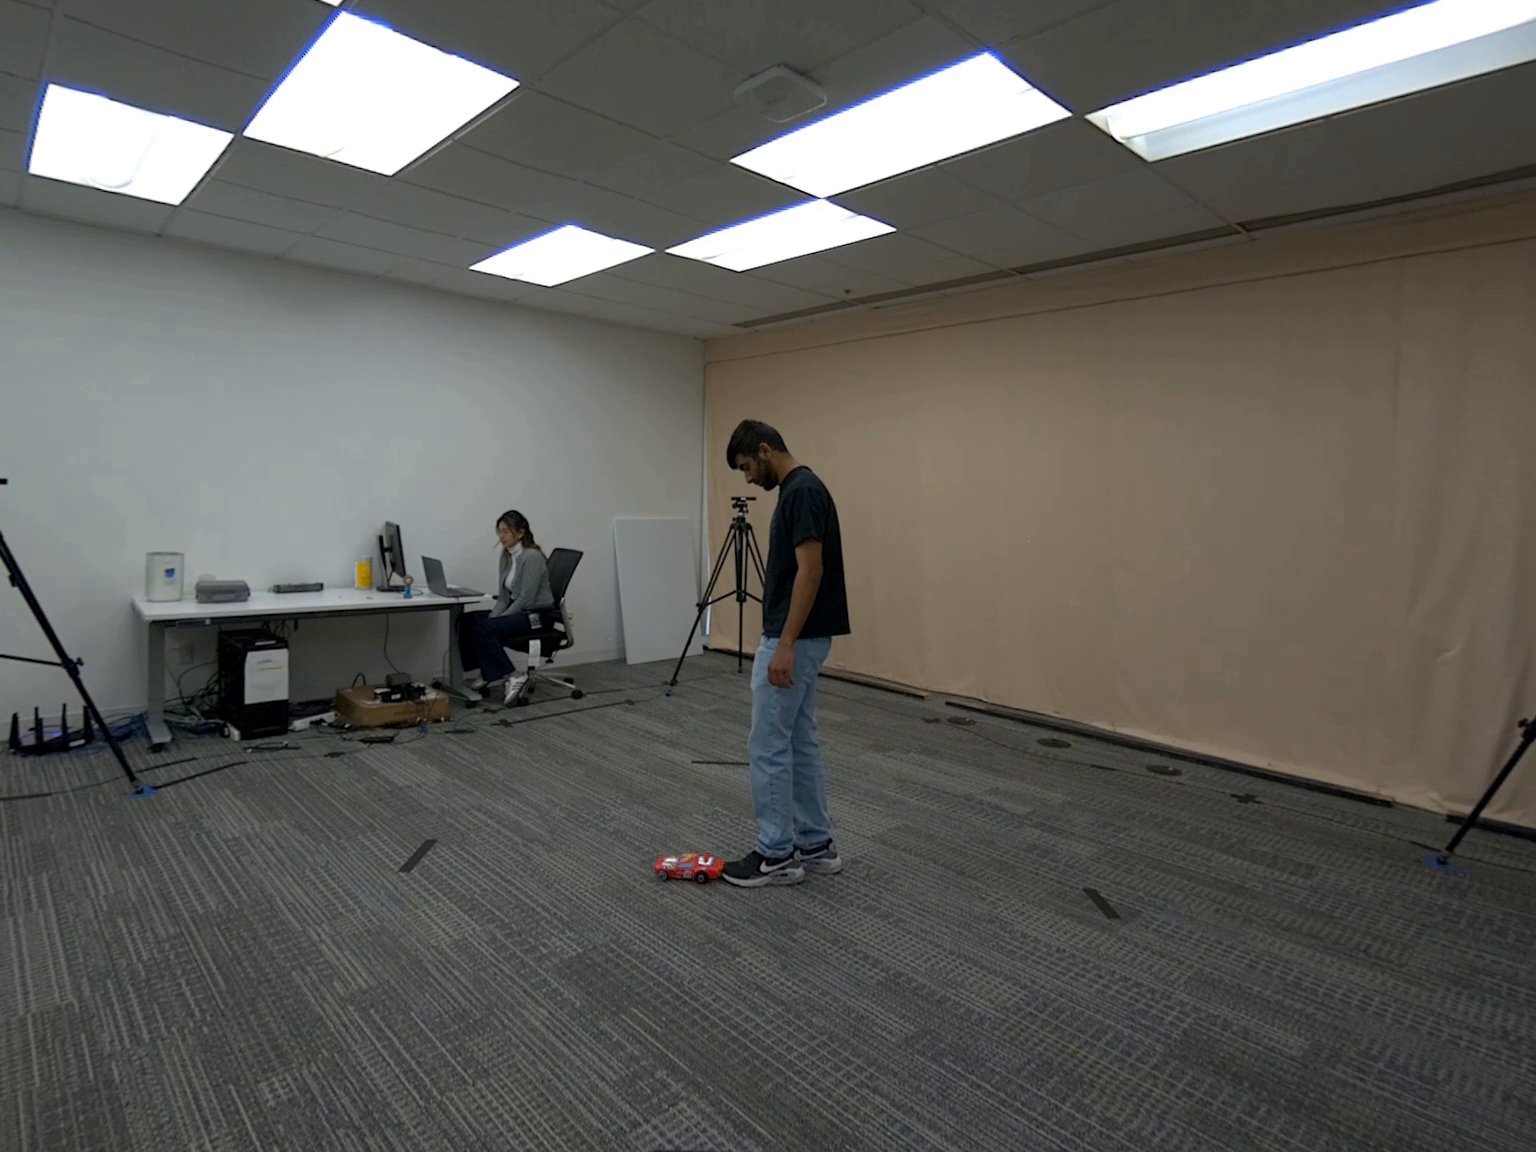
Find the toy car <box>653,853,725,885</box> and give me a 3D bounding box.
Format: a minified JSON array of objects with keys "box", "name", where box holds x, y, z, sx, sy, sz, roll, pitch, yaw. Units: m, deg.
[{"box":[-0.286,1.068,3.089,0.256,0.083,0.130,-10,4,8],"name":"toy car"}]
